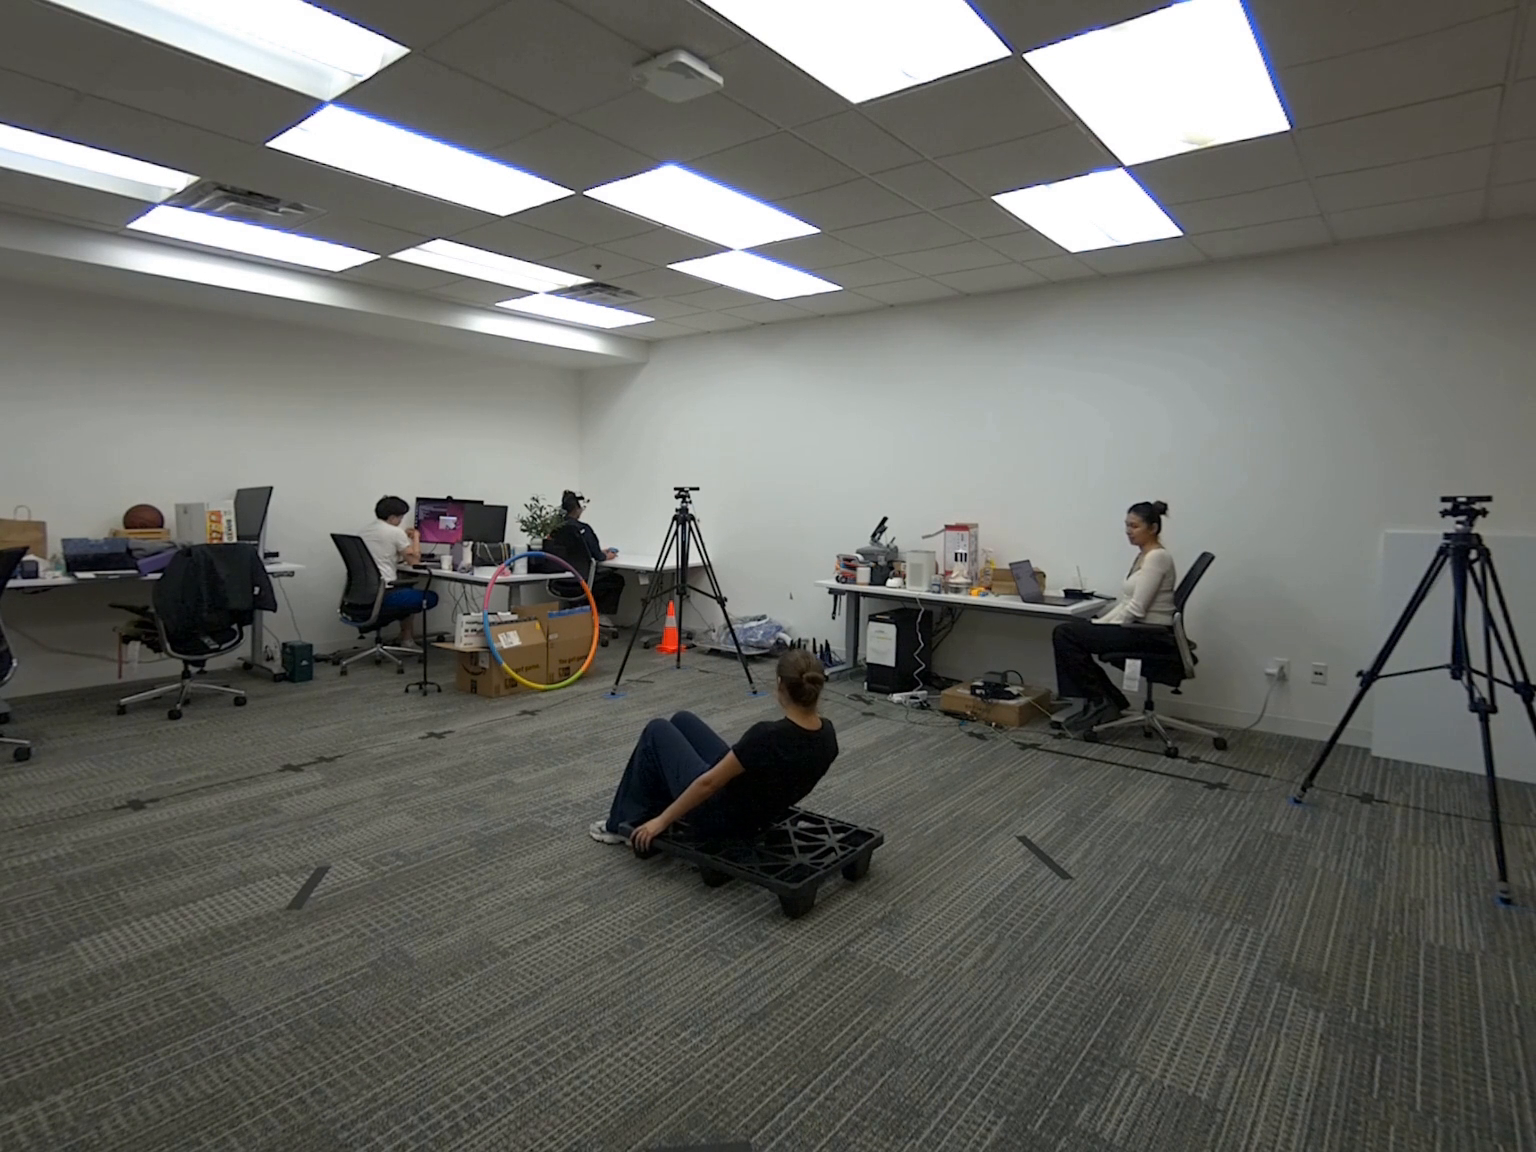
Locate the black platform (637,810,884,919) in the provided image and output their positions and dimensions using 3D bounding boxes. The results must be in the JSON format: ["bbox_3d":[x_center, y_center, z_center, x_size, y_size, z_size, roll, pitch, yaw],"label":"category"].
[{"bbox_3d":[-0.050,0.997,3.160,0.832,0.143,0.587,5,6,38],"label":"black platform"}]
